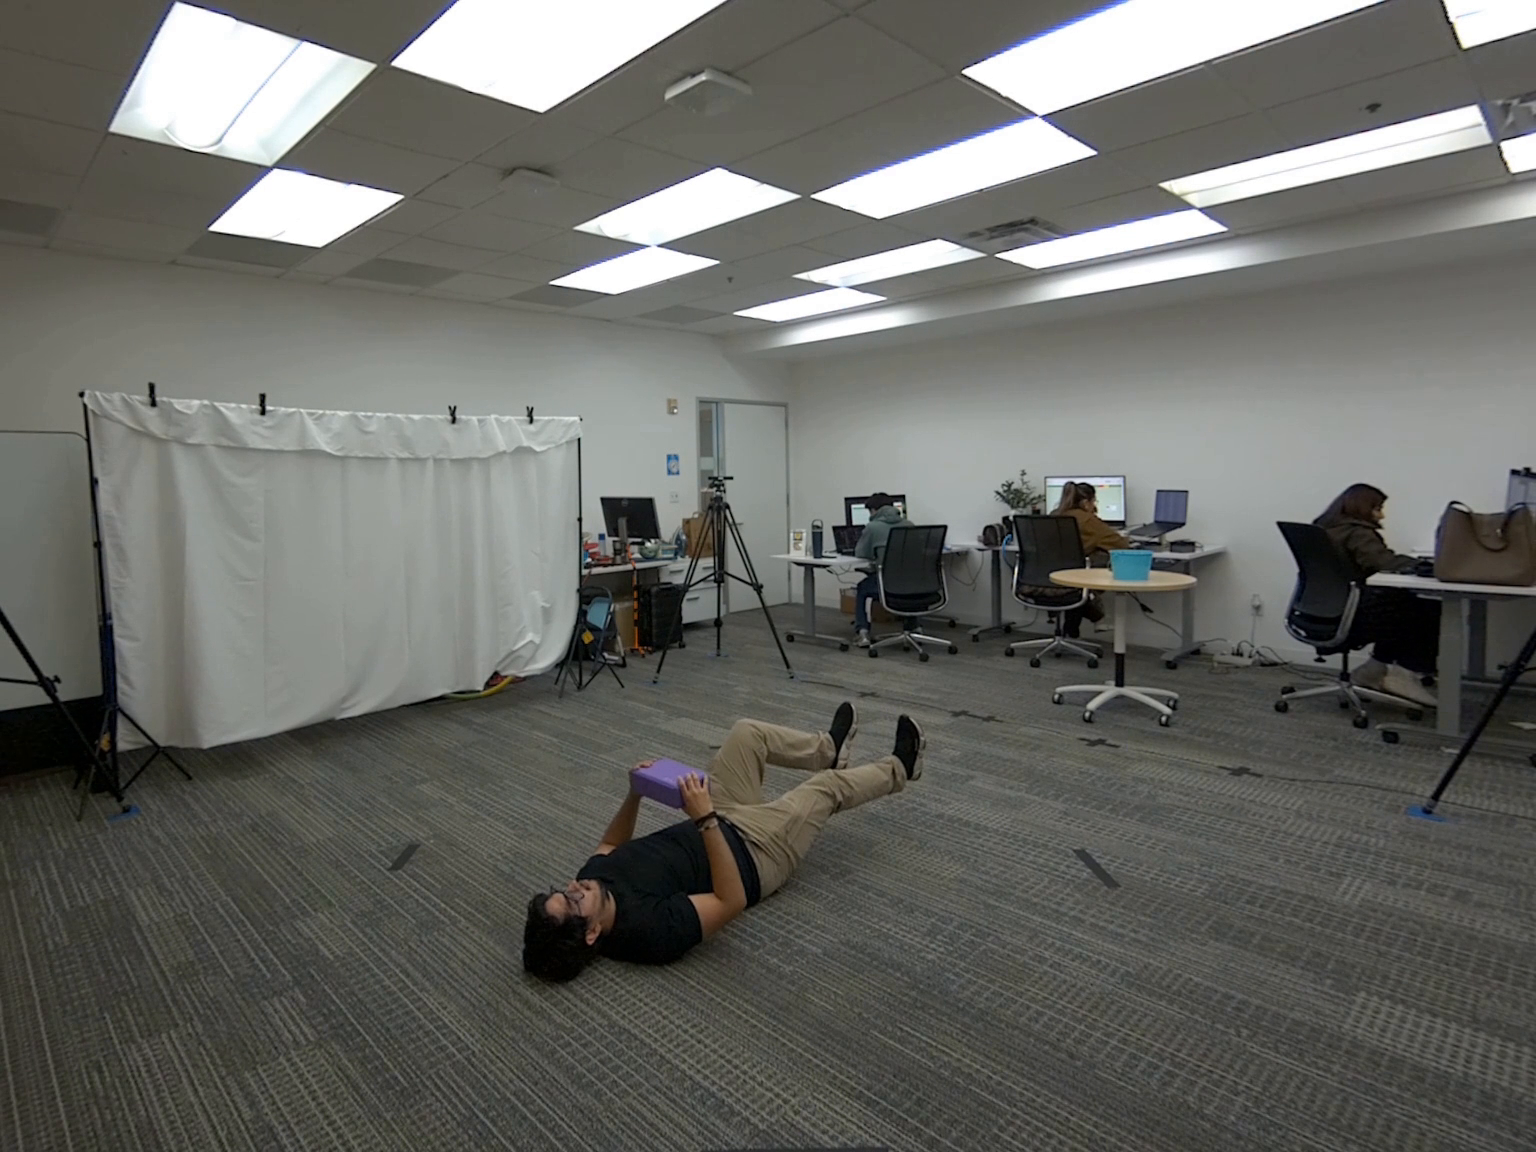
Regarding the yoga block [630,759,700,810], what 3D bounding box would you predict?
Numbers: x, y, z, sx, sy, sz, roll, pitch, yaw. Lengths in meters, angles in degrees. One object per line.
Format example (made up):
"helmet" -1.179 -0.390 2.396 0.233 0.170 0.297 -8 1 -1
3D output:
"yoga block" -0.306 0.664 2.743 0.236 0.076 0.145 5 12 44
